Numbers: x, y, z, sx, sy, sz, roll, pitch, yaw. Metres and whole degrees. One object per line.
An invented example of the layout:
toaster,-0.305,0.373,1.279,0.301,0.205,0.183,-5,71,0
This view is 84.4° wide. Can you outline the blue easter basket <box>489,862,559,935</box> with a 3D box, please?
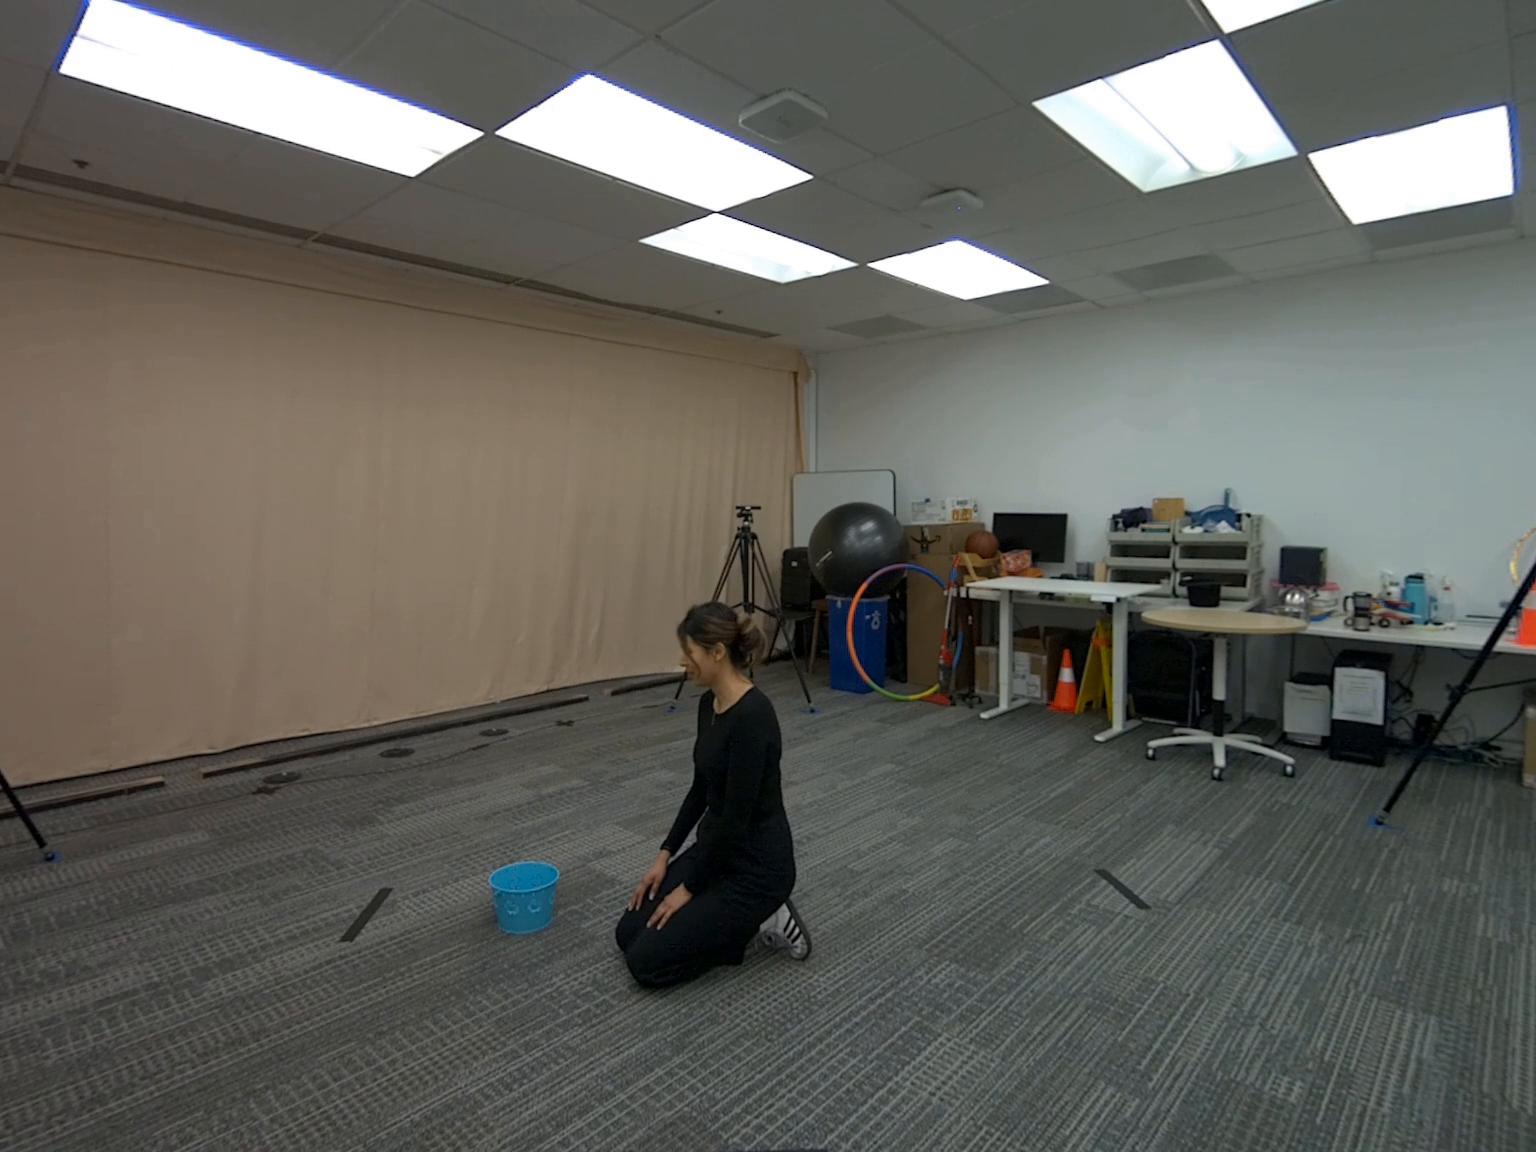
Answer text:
blue easter basket,-0.820,1.087,2.839,0.243,0.155,0.244,0,4,-2
